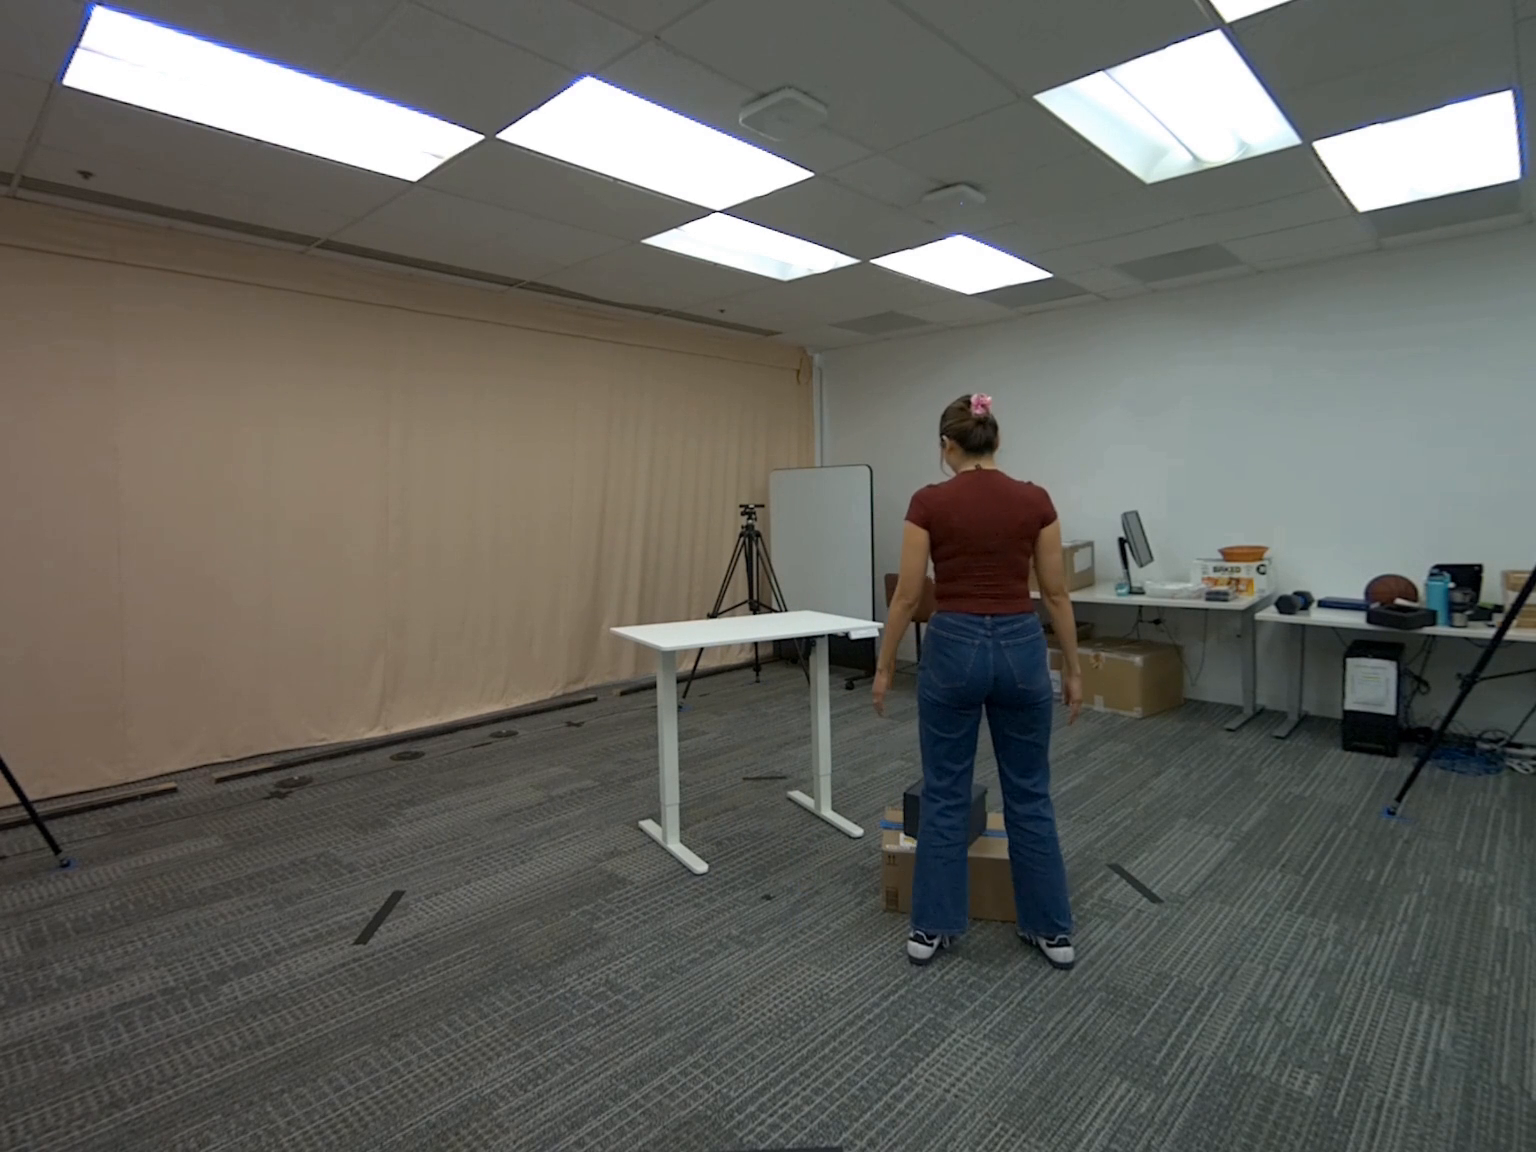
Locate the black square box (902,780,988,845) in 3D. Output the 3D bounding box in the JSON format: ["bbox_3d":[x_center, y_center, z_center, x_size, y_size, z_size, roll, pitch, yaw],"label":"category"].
[{"bbox_3d":[0.636,0.826,2.974,0.235,0.155,0.211,4,8,34],"label":"black square box"}]
